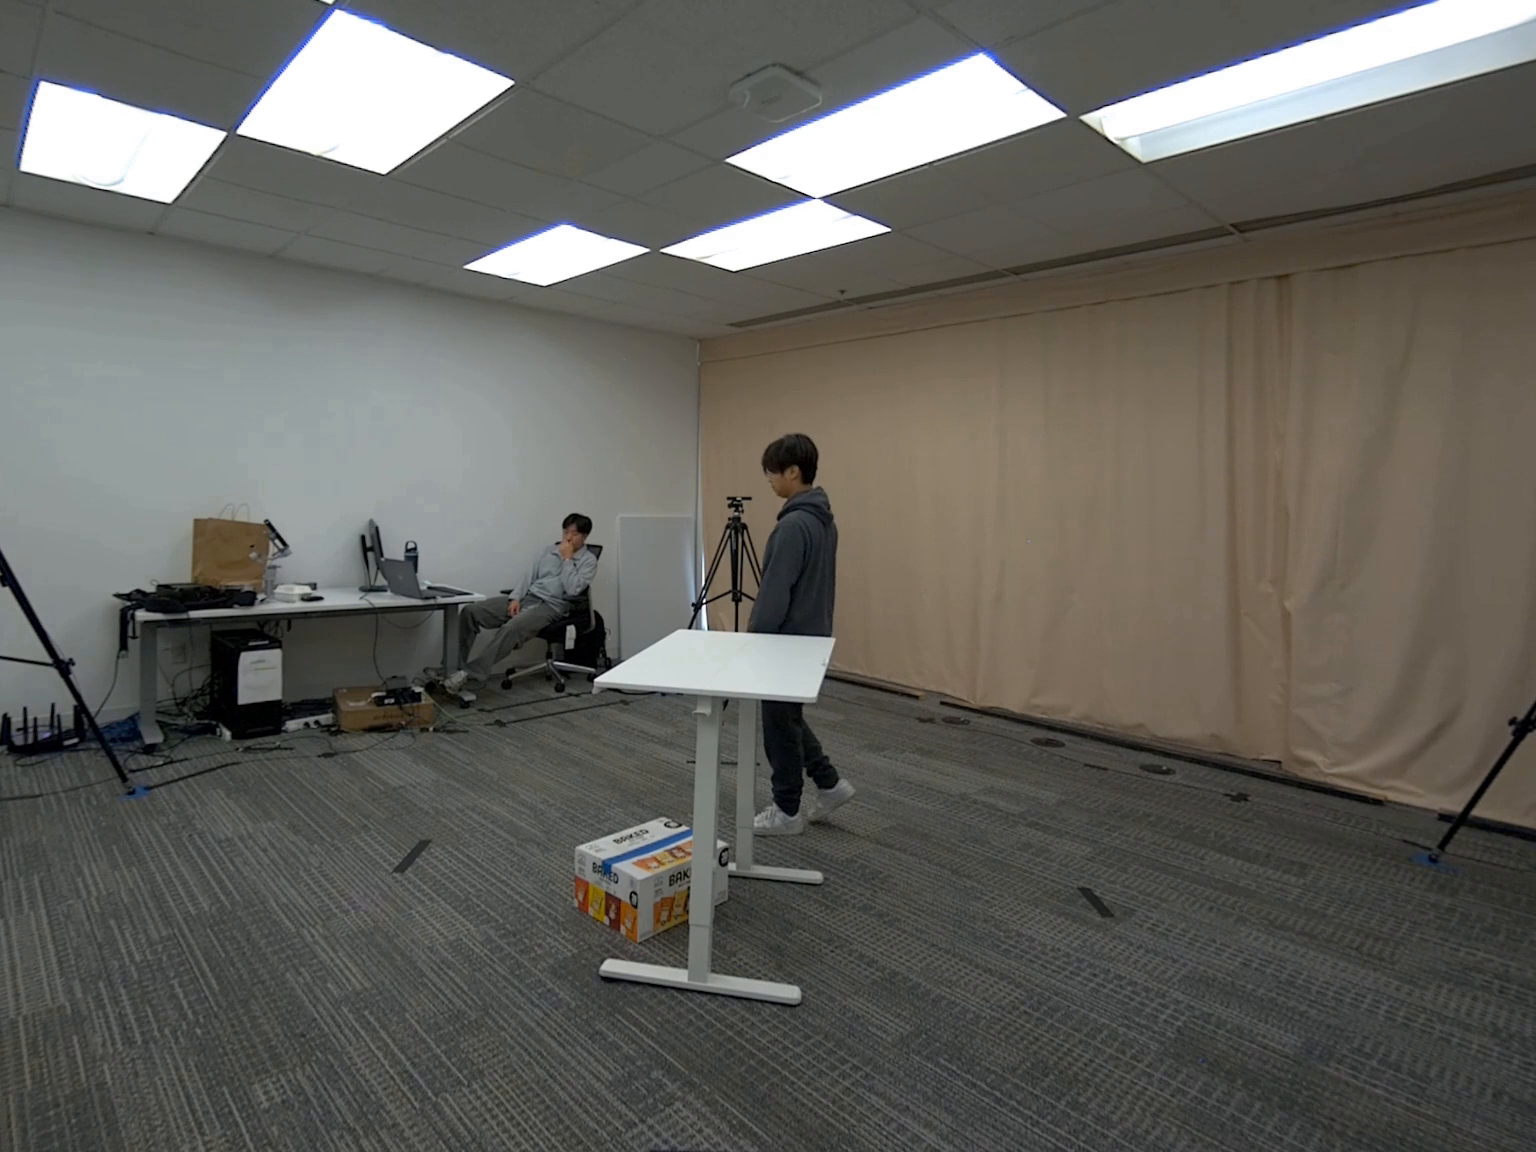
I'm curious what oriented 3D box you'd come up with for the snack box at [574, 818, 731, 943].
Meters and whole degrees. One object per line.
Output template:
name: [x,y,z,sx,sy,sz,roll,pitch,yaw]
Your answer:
snack box: [-0.403,1.022,2.867,0.349,0.205,0.396,5,6,42]
